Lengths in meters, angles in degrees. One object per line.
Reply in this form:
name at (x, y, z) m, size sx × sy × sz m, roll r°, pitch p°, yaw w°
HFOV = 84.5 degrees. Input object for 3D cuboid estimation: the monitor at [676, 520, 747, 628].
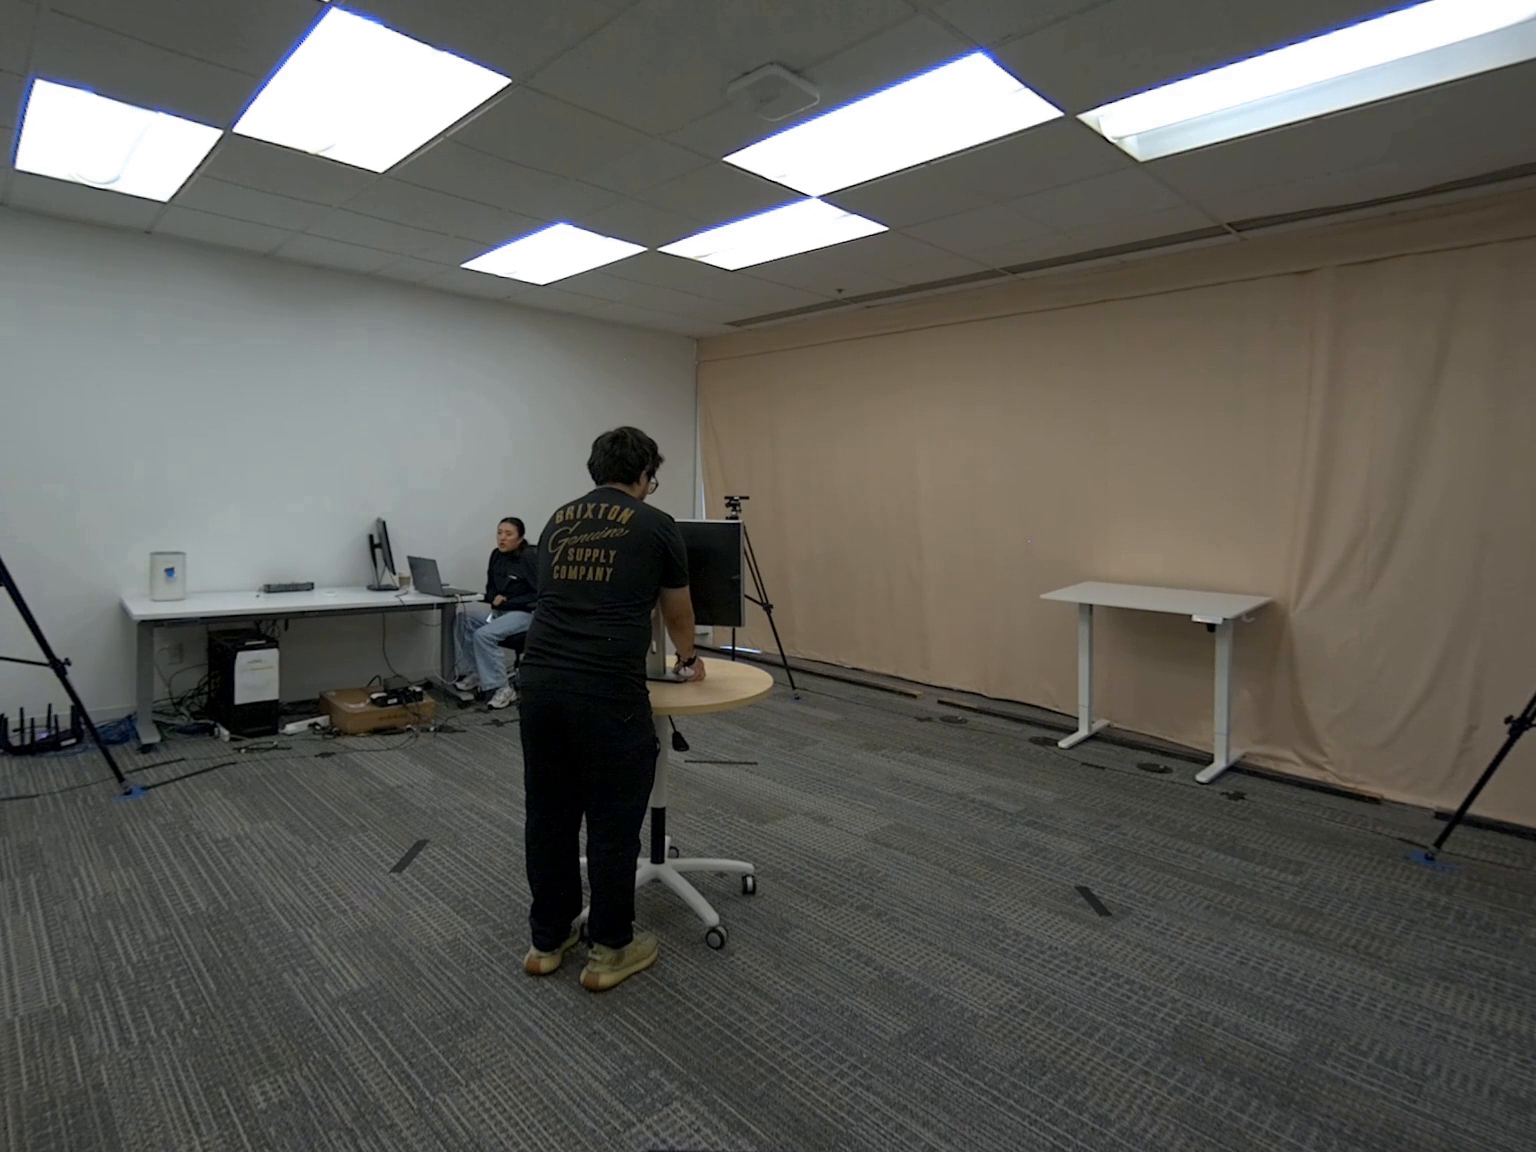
monitor at (-0.372, 0.081, 2.851) m, size 0.574 × 0.552 × 0.207 m, roll 2°, pitch 5°, yaw 19°
